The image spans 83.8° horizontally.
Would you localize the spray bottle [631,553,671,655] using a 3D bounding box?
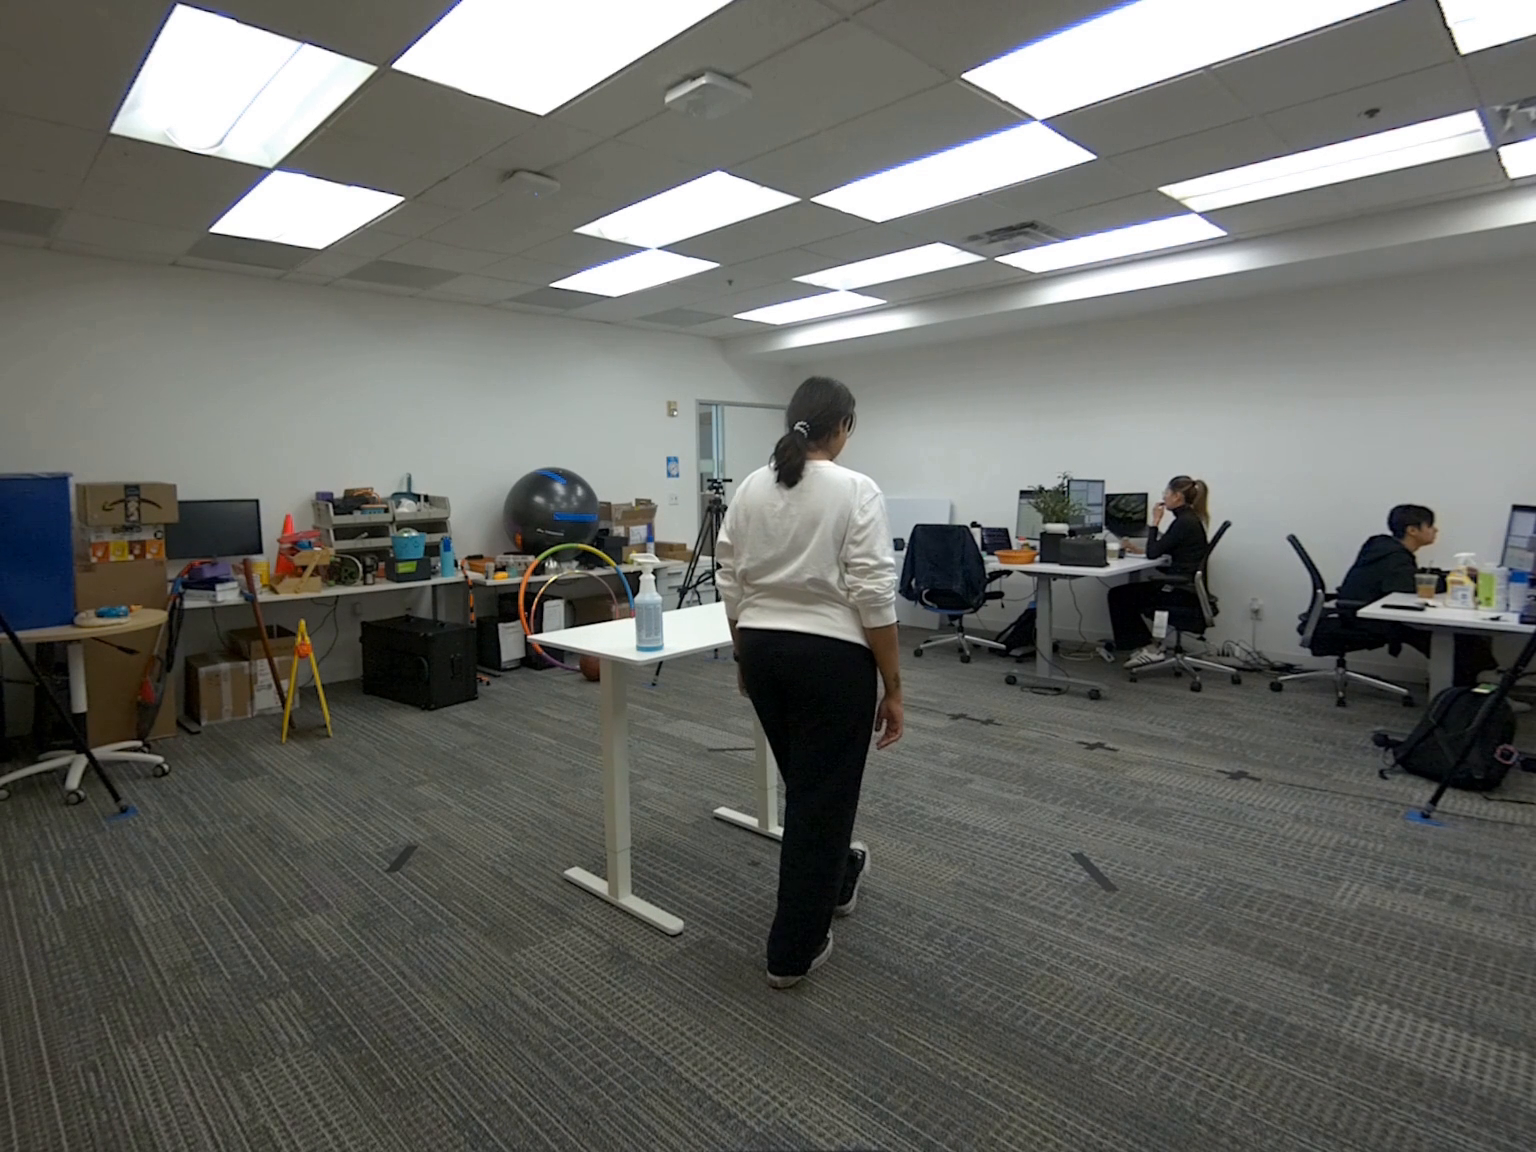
[{"bbox_3d":[-0.359,0.082,2.624,0.091,0.296,0.086,2,3,13],"label":"spray bottle"}]
